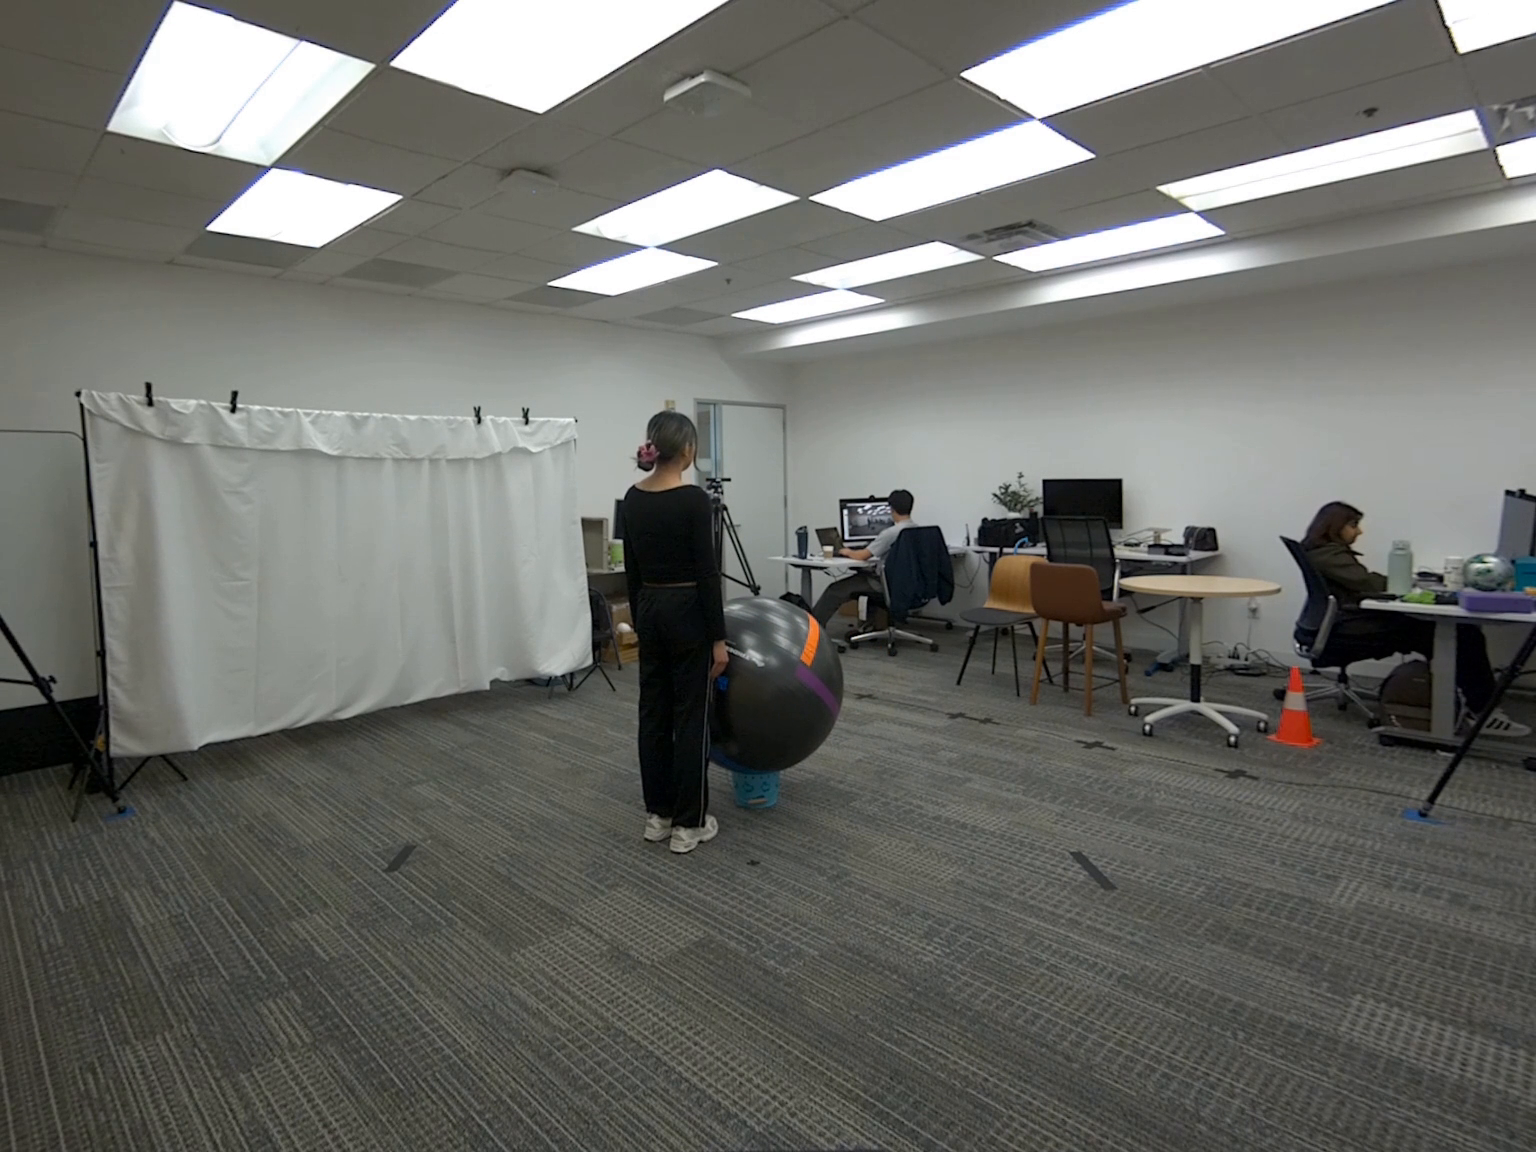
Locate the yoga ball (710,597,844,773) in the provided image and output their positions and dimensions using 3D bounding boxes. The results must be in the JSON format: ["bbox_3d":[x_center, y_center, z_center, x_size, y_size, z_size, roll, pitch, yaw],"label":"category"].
[{"bbox_3d":[-0.054,0.465,3.690,0.757,0.755,0.762,-1,5,-2],"label":"yoga ball"}]
